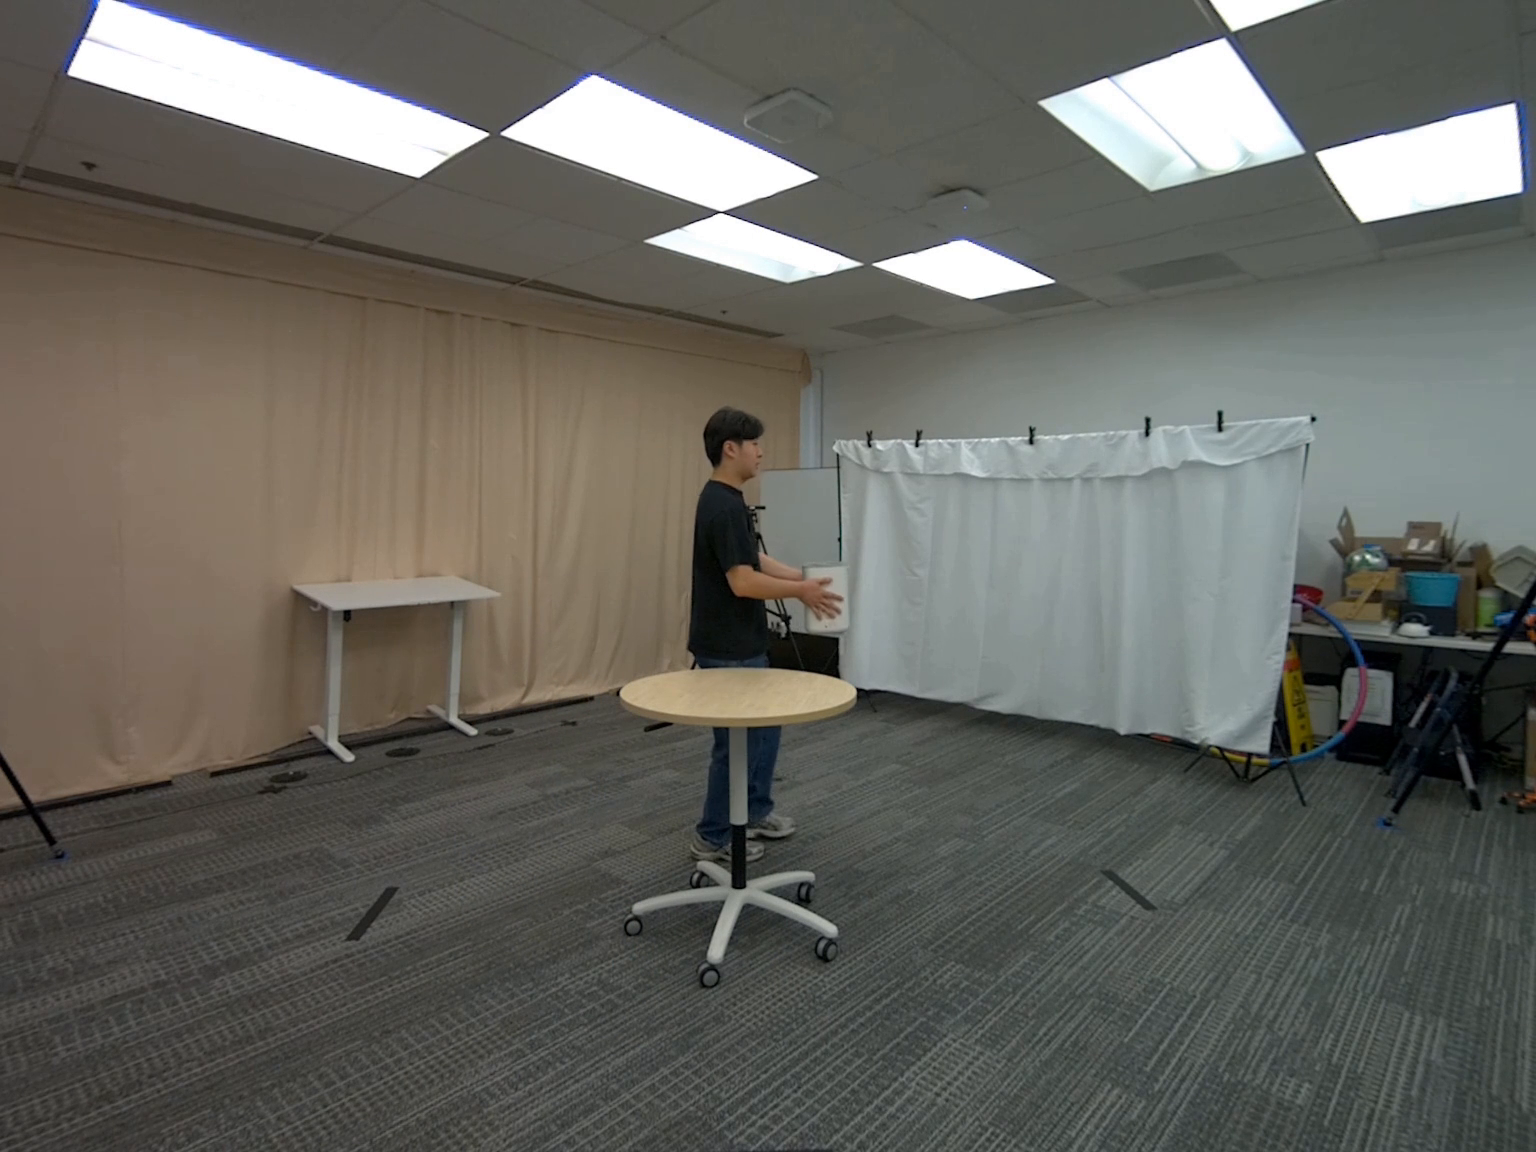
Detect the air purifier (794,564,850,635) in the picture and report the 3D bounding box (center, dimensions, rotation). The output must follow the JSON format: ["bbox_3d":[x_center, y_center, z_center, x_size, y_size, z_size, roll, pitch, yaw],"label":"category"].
[{"bbox_3d":[0.225,0.086,3.249,0.172,0.264,0.171,-2,5,4],"label":"air purifier"}]
